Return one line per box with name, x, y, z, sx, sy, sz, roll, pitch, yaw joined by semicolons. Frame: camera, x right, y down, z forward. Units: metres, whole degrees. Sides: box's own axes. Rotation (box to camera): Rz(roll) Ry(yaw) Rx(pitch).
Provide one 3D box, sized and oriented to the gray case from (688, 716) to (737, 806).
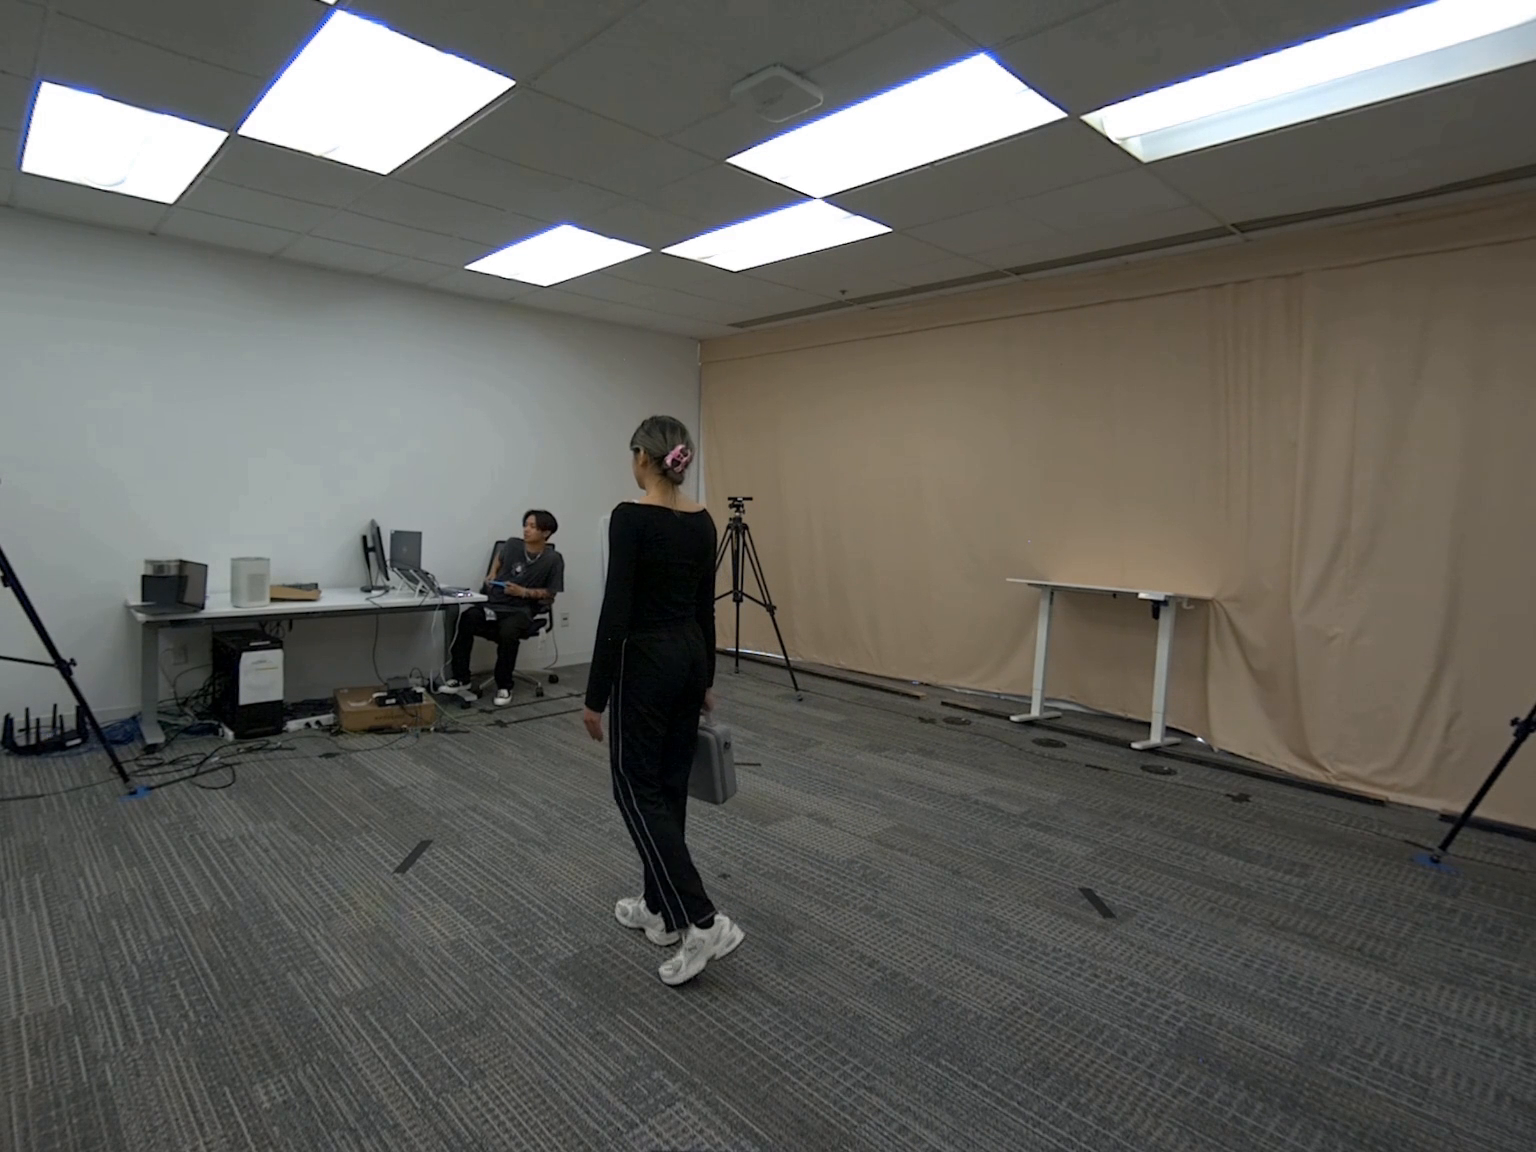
gray case;-0.243;0.611;2.815;0.263;0.259;0.102;4;11;42
